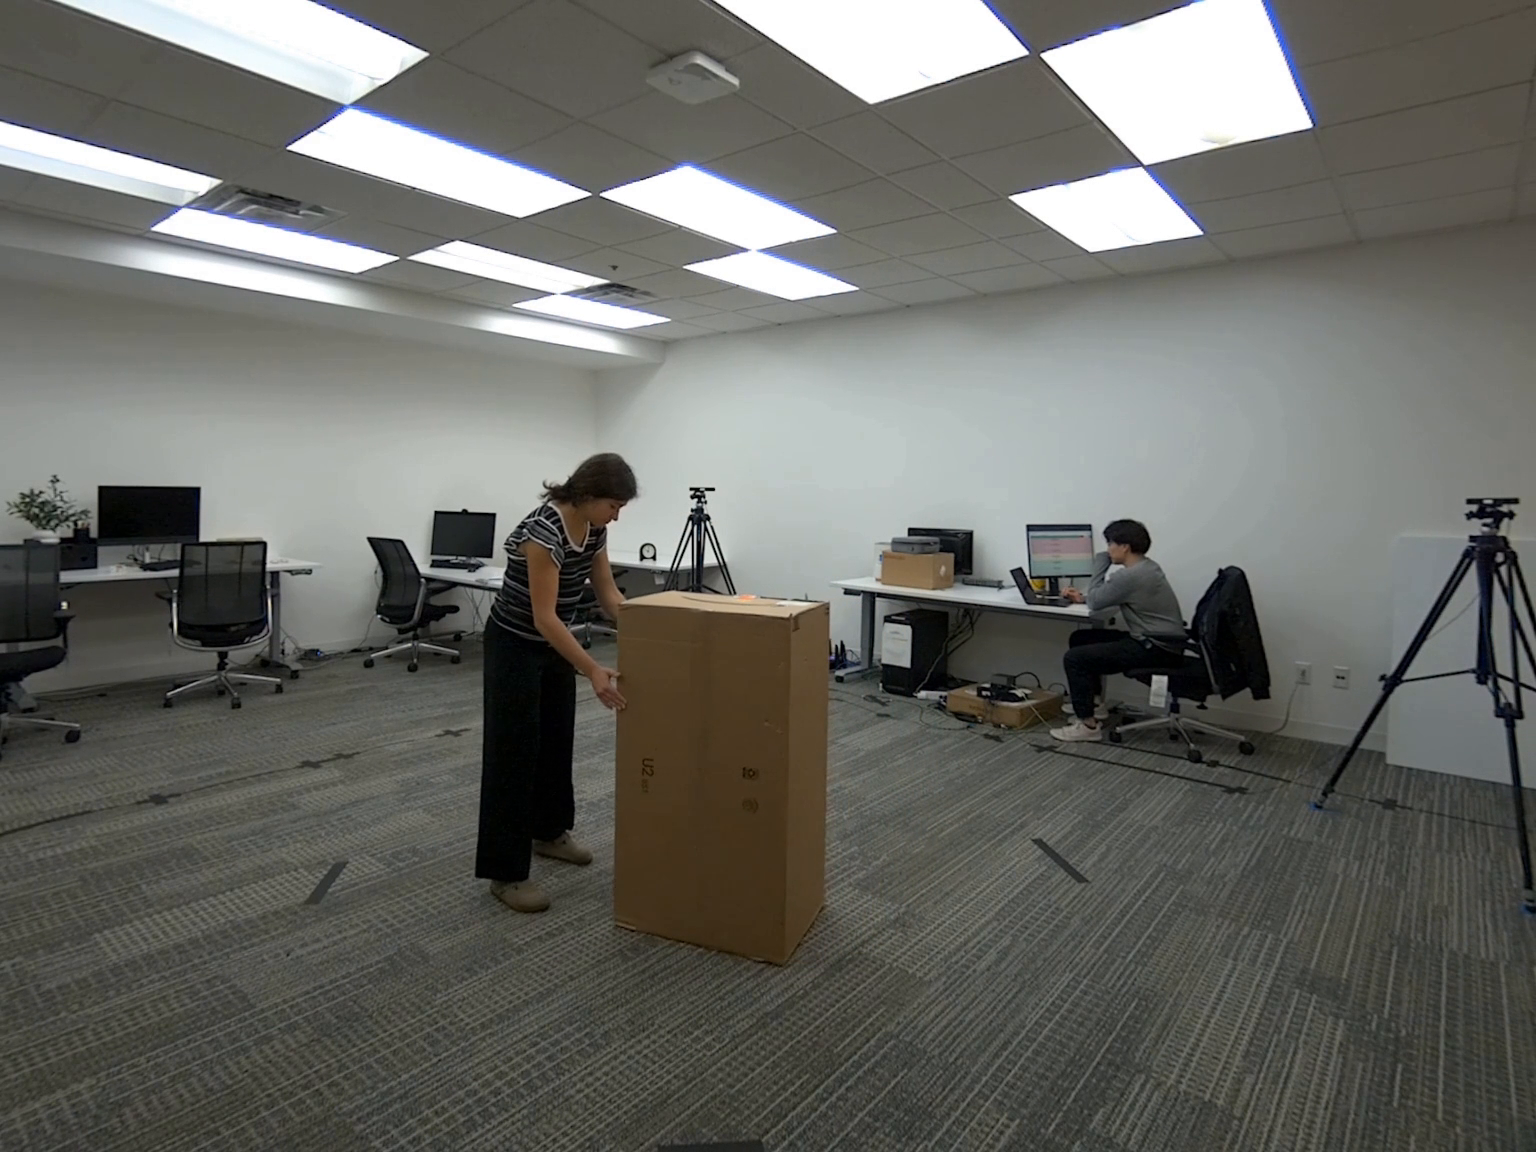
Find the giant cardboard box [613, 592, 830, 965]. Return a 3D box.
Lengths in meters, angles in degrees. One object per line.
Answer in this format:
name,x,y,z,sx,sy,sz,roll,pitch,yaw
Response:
giant cardboard box,-0.151,0.593,2.750,0.591,1.023,0.417,2,3,22
